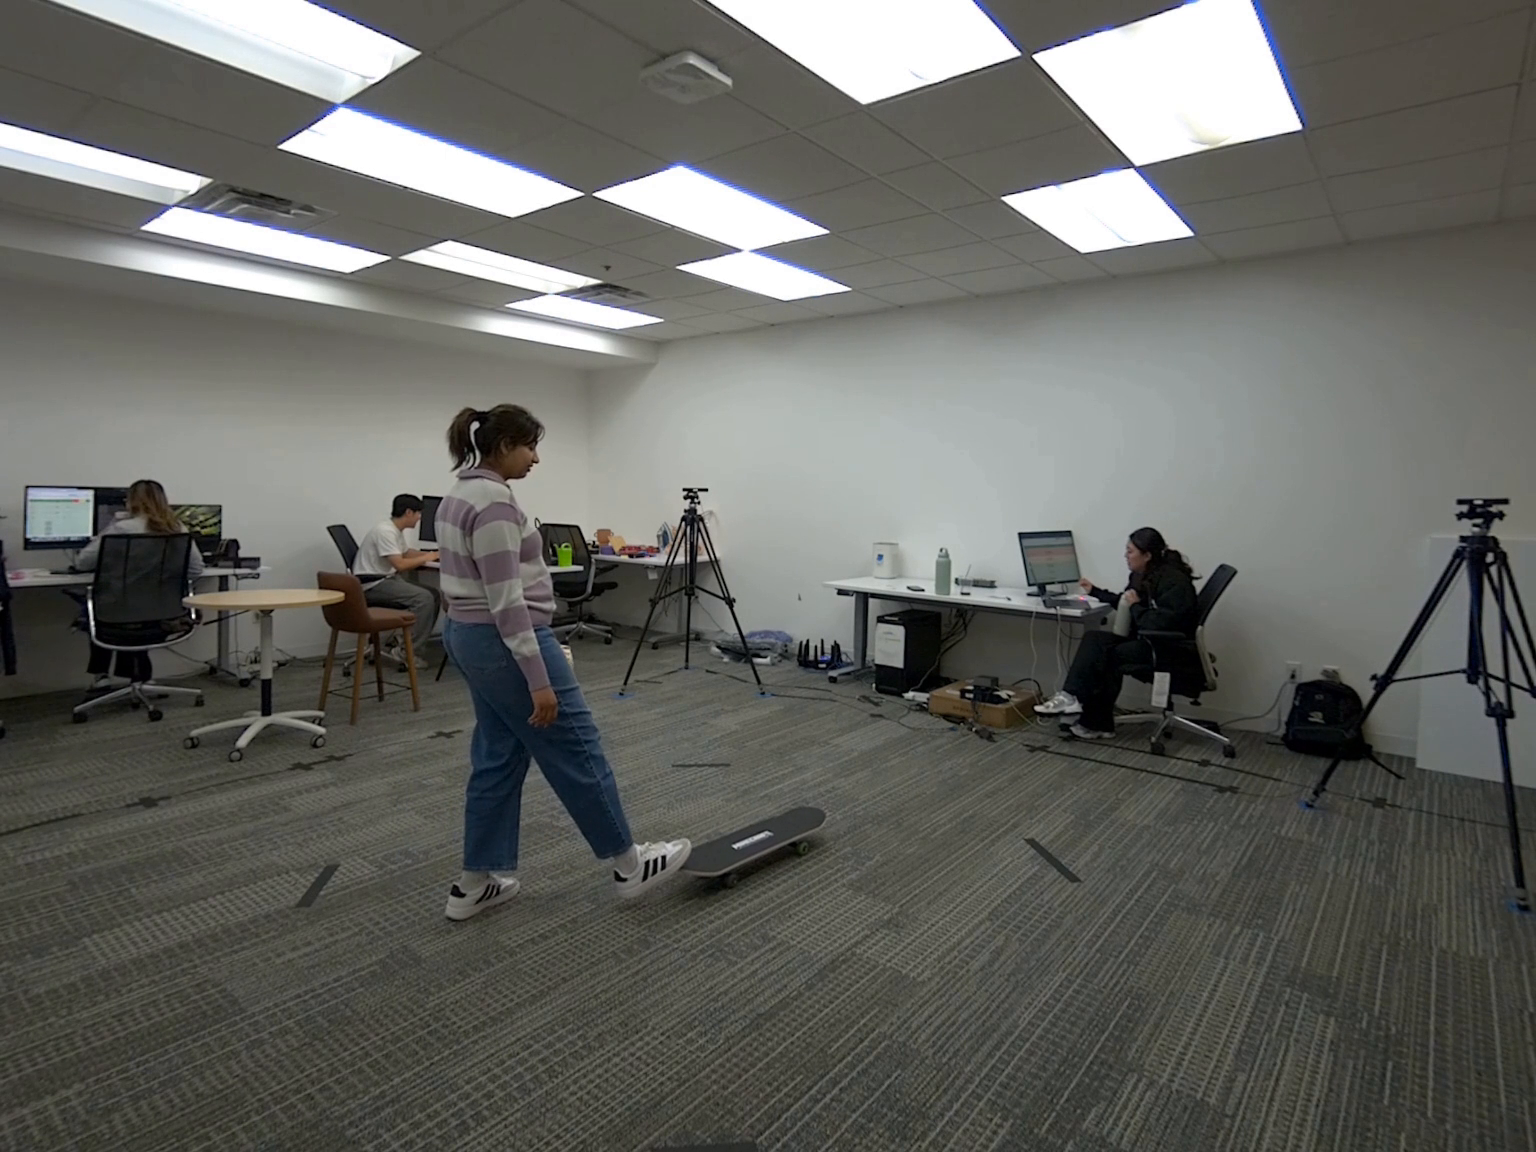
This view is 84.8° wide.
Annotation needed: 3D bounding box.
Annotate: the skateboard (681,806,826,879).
[{"bbox_3d":[-0.061,1.013,3.168,0.200,0.110,0.762,6,8,42],"label":"skateboard"}]
